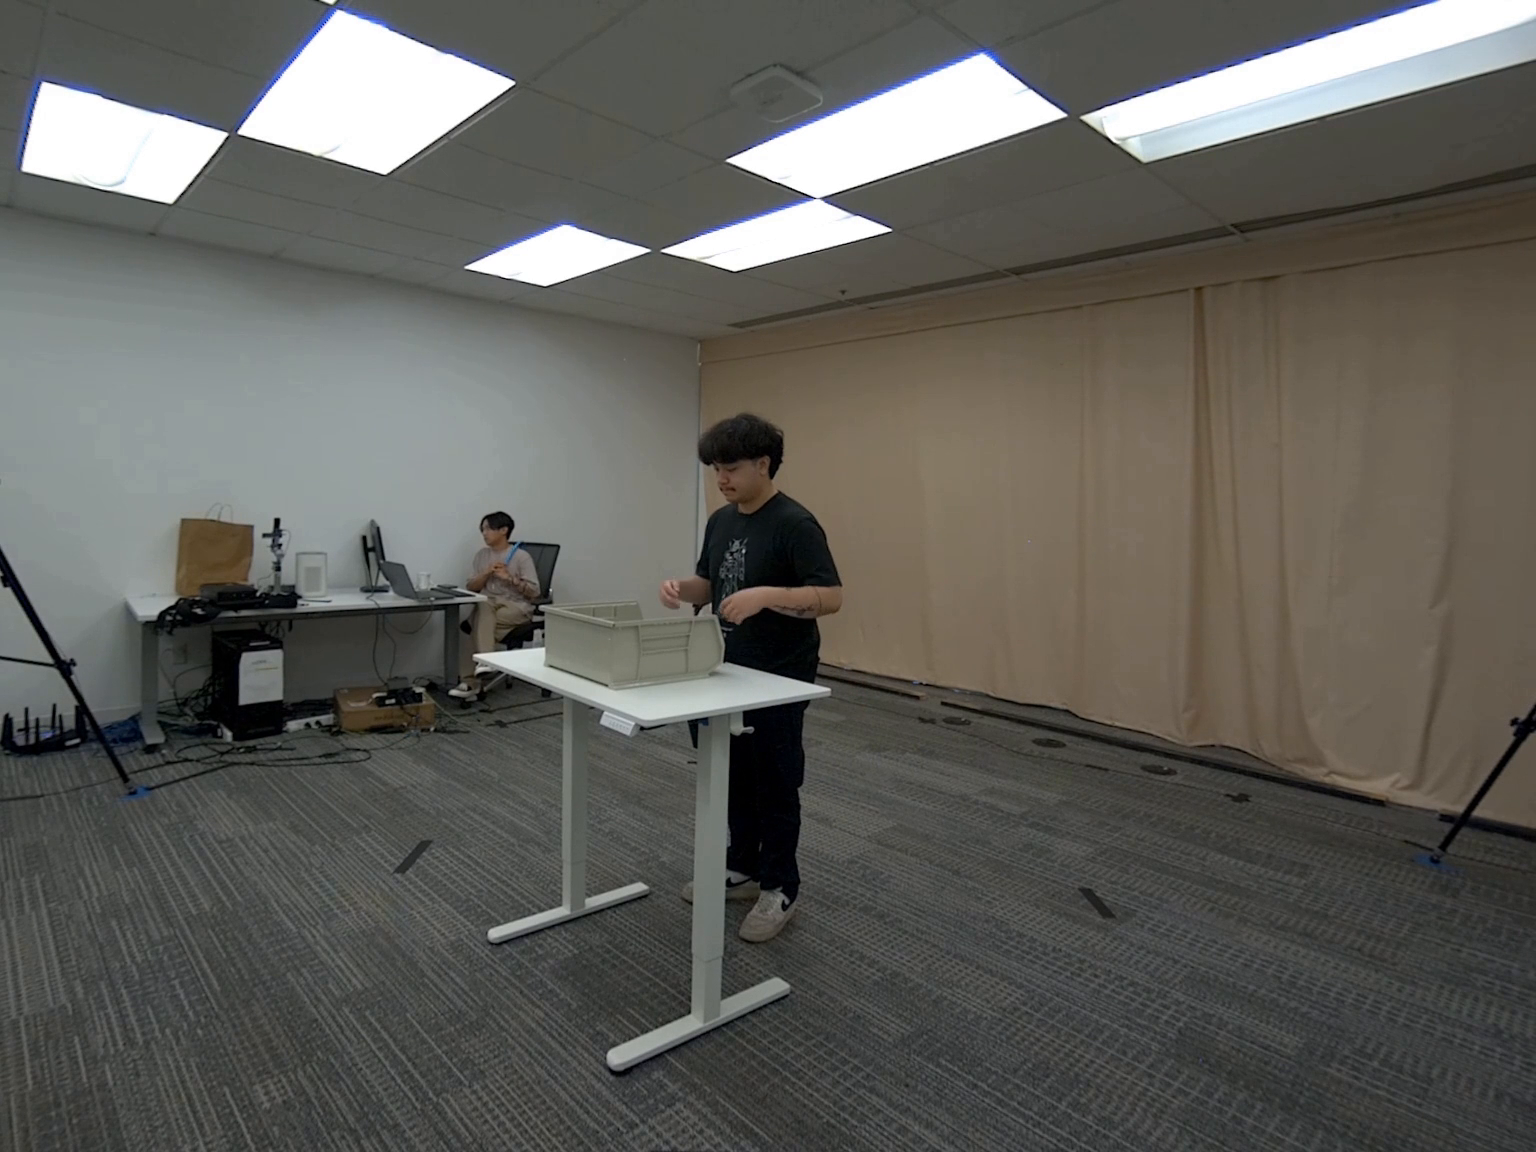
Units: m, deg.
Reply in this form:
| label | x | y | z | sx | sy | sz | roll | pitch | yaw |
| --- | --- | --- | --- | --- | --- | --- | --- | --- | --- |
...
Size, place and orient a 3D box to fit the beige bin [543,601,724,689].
| label | x | y | z | sx | sy | sz | roll | pitch | yaw |
| --- | --- | --- | --- | --- | --- | --- | --- | --- | --- |
| beige bin | -0.405 | 0.192 | 2.459 | 0.369 | 0.188 | 0.433 | -3 | 7 | -39 |
